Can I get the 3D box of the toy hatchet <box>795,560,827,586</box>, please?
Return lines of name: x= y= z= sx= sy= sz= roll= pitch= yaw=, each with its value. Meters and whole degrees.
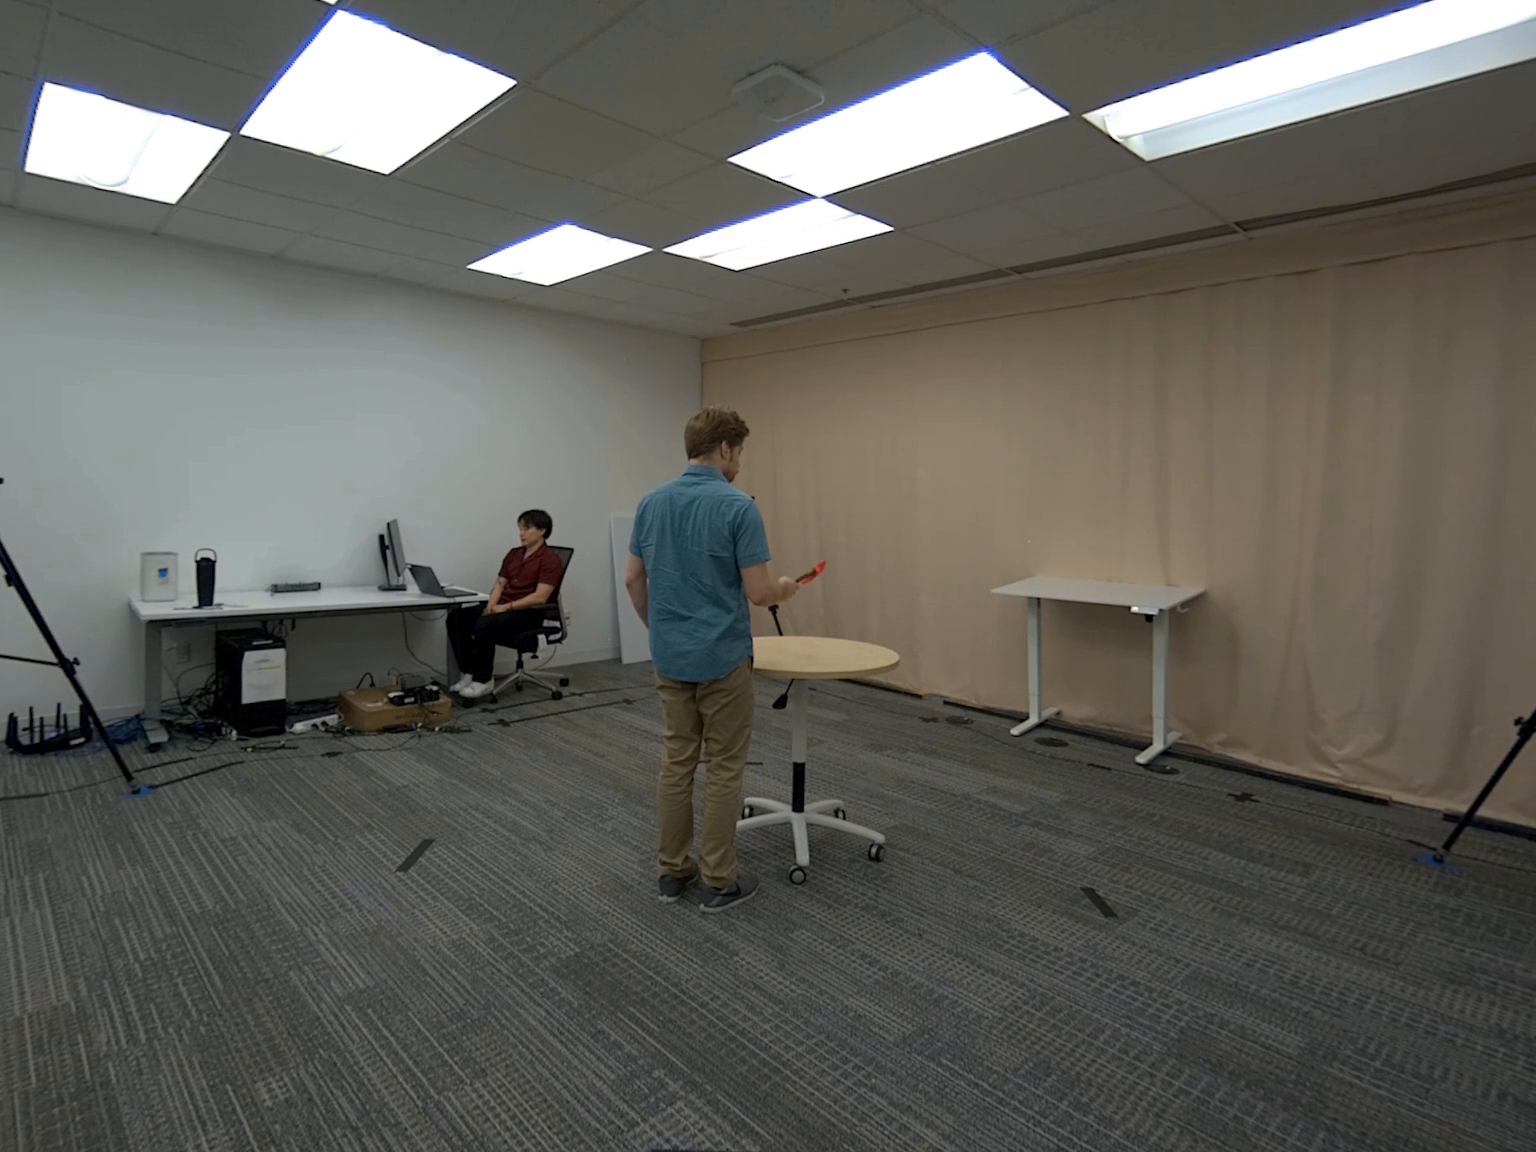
toy hatchet: x=0.103 y=0.034 z=3.200 sx=0.267 sy=0.030 sz=0.130 roll=-30 pitch=-18 yaw=-31
